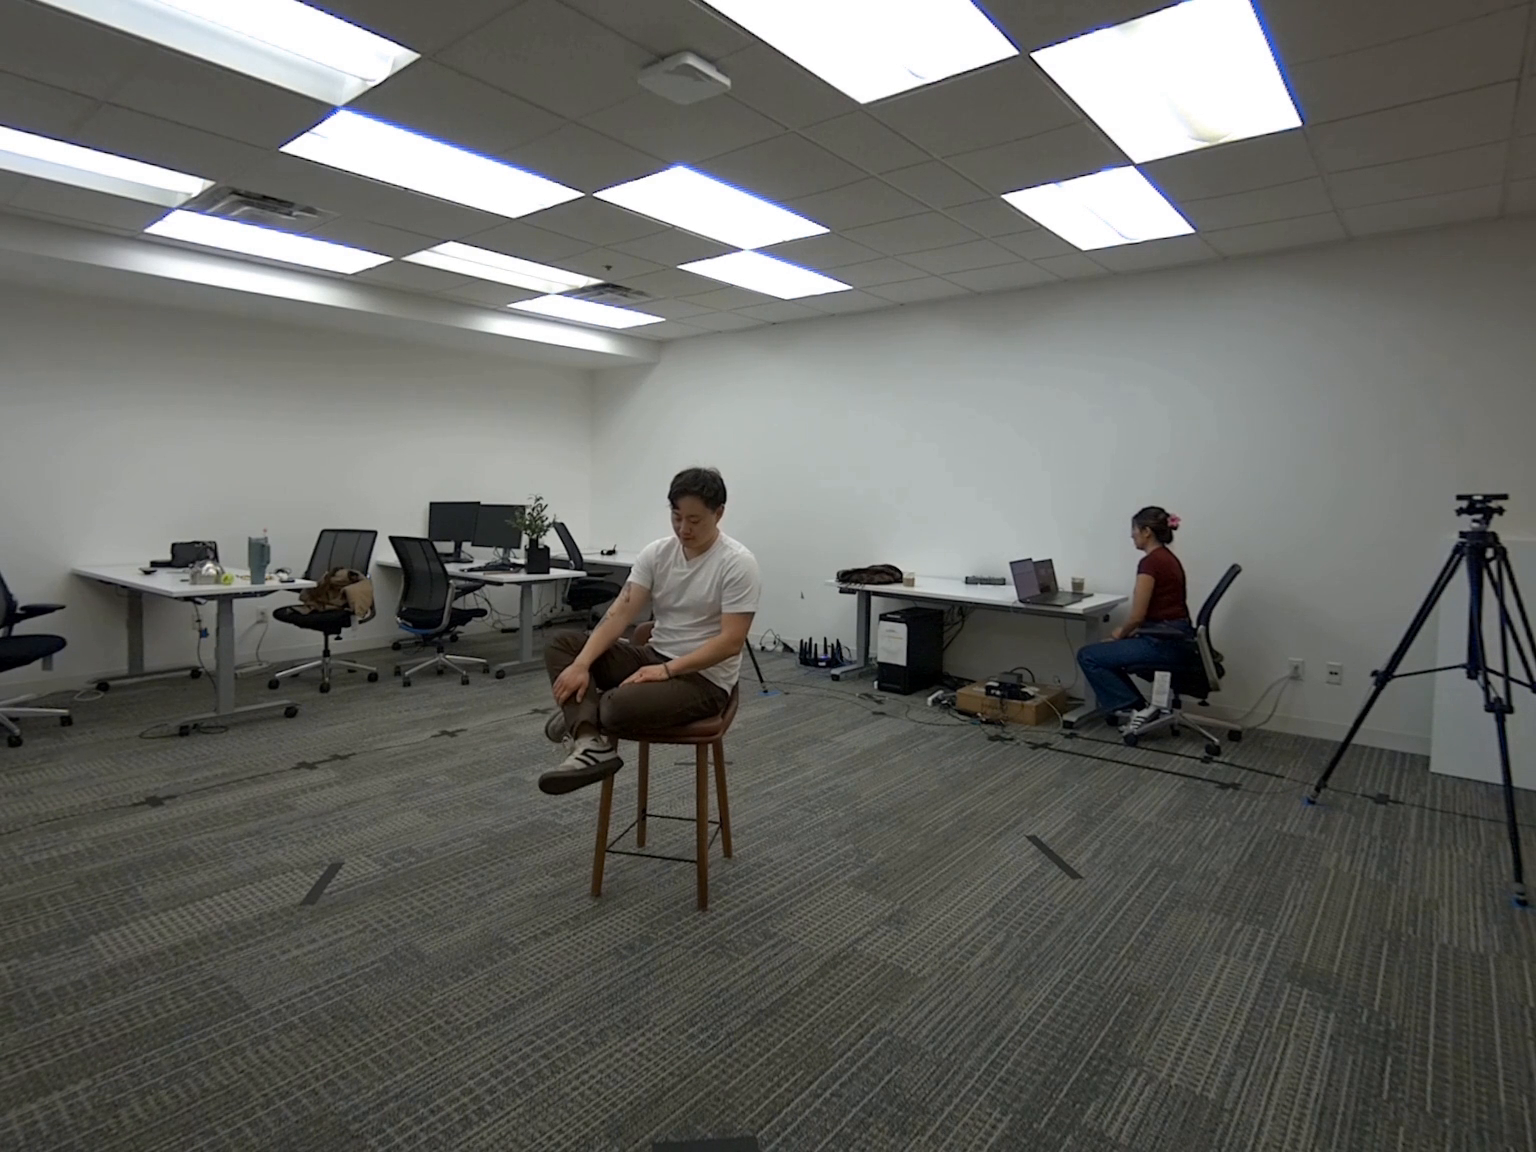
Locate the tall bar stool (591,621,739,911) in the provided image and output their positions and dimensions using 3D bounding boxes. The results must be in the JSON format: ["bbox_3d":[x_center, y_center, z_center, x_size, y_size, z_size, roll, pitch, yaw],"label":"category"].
[{"bbox_3d":[-0.361,0.642,3.043,0.464,0.889,0.460,1,1,14],"label":"tall bar stool"}]
